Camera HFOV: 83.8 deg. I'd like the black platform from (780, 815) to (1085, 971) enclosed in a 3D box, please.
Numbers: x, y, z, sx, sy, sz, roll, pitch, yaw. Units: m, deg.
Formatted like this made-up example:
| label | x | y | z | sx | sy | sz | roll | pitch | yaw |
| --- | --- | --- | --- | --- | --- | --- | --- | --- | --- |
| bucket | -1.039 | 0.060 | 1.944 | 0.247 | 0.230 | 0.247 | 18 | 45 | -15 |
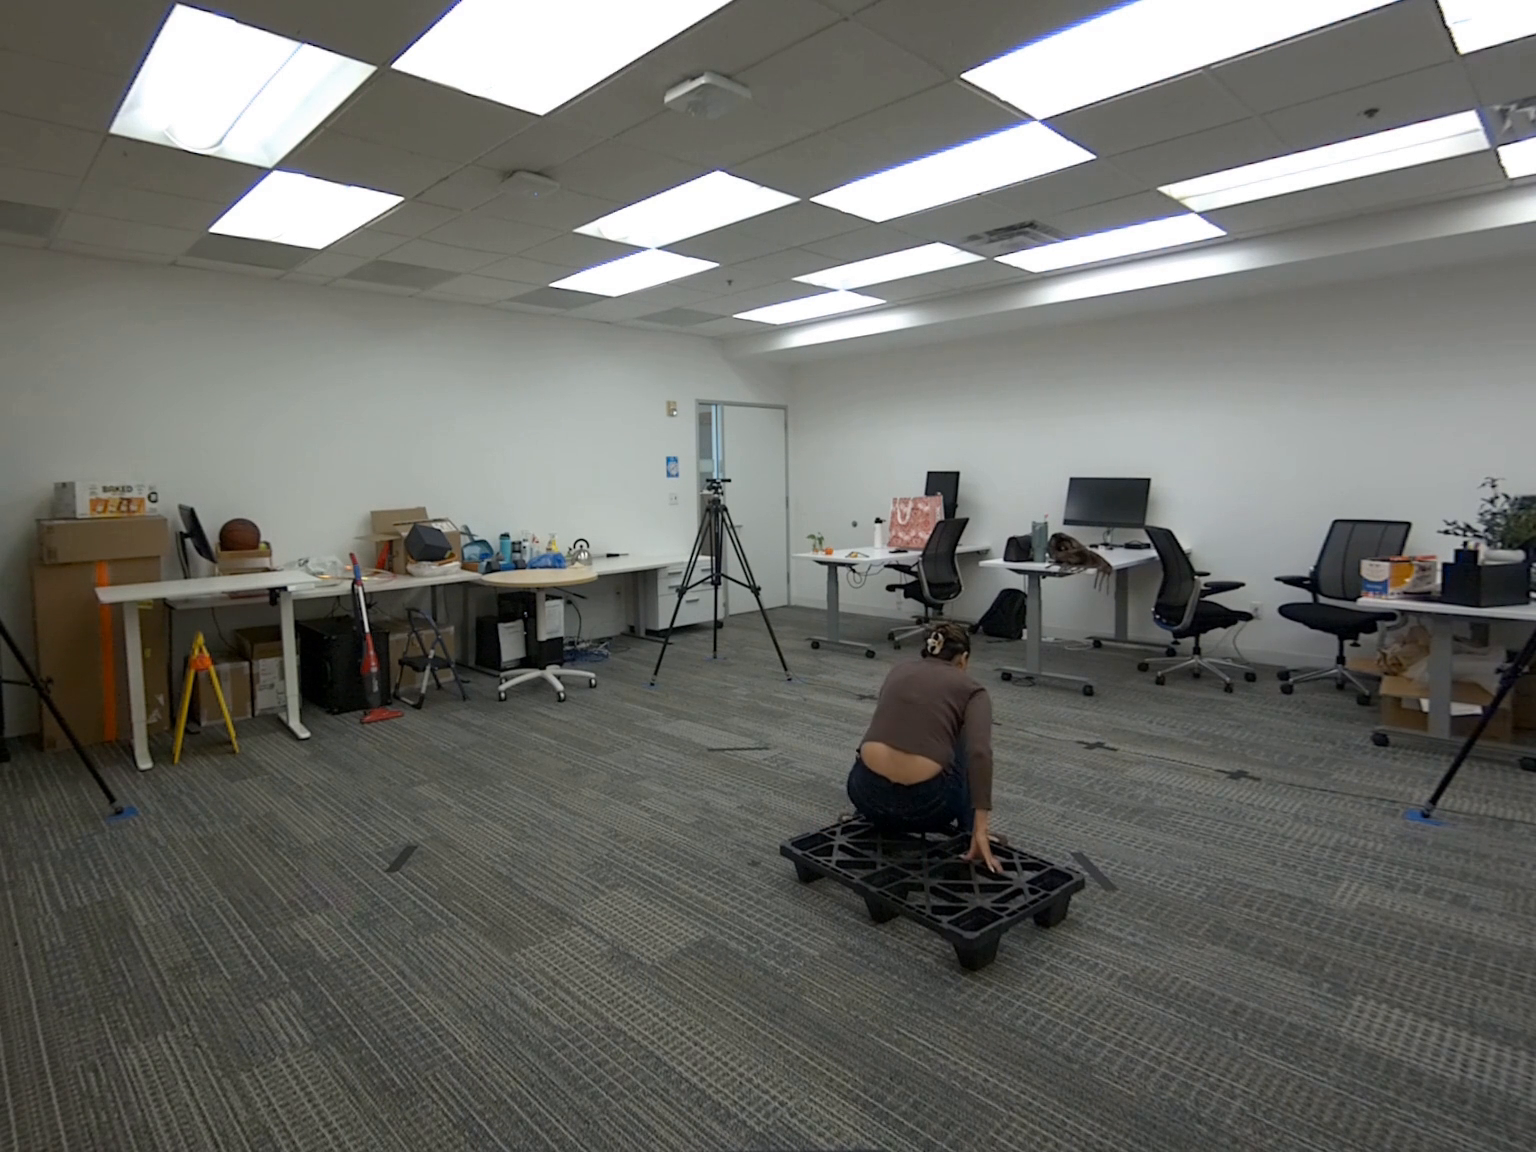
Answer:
| label | x | y | z | sx | sy | sz | roll | pitch | yaw |
| --- | --- | --- | --- | --- | --- | --- | --- | --- | --- |
| black platform | 0.518 | 1.003 | 2.818 | 0.590 | 0.143 | 0.830 | -6 | 8 | -38 |
